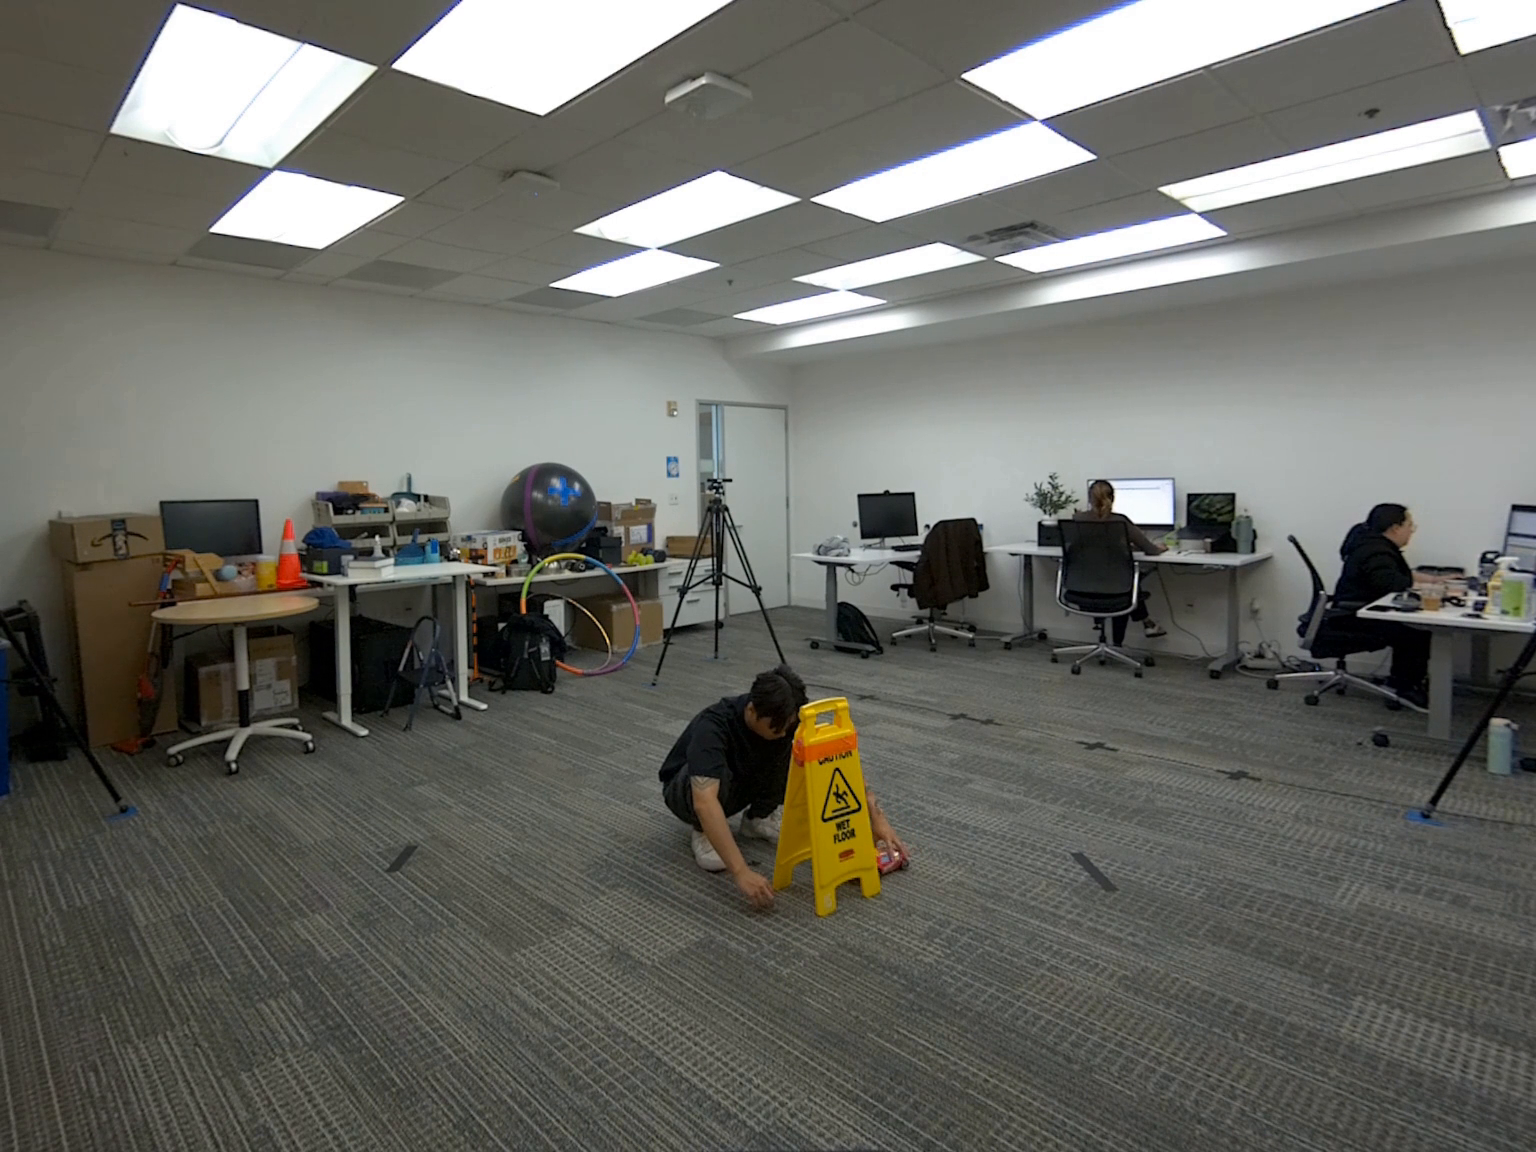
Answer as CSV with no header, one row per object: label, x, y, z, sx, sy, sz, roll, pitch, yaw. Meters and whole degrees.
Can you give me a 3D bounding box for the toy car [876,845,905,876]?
toy car,0.382,1.014,3.015,0.246,0.083,0.134,11,-2,-35
